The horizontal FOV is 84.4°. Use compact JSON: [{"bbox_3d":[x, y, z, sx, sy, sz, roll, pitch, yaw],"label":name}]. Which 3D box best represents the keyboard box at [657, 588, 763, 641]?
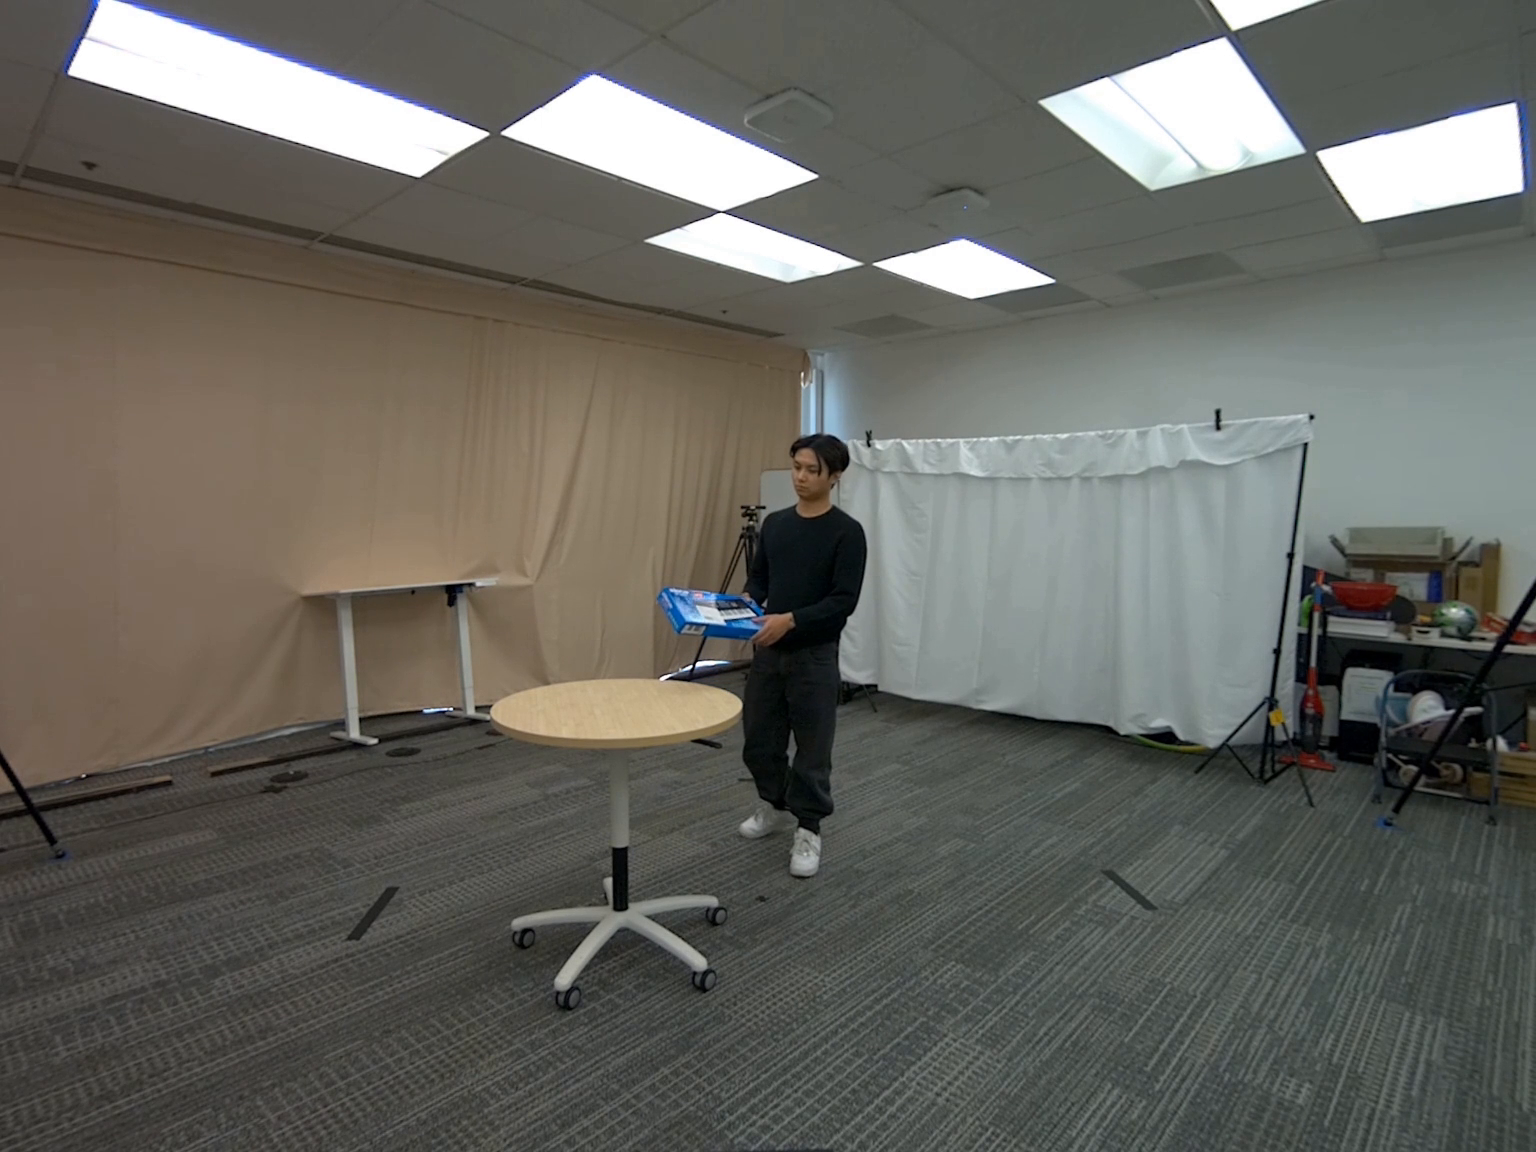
[{"bbox_3d":[-0.179,0.140,2.990,0.422,0.059,0.182,10,34,-43],"label":"keyboard box"}]
